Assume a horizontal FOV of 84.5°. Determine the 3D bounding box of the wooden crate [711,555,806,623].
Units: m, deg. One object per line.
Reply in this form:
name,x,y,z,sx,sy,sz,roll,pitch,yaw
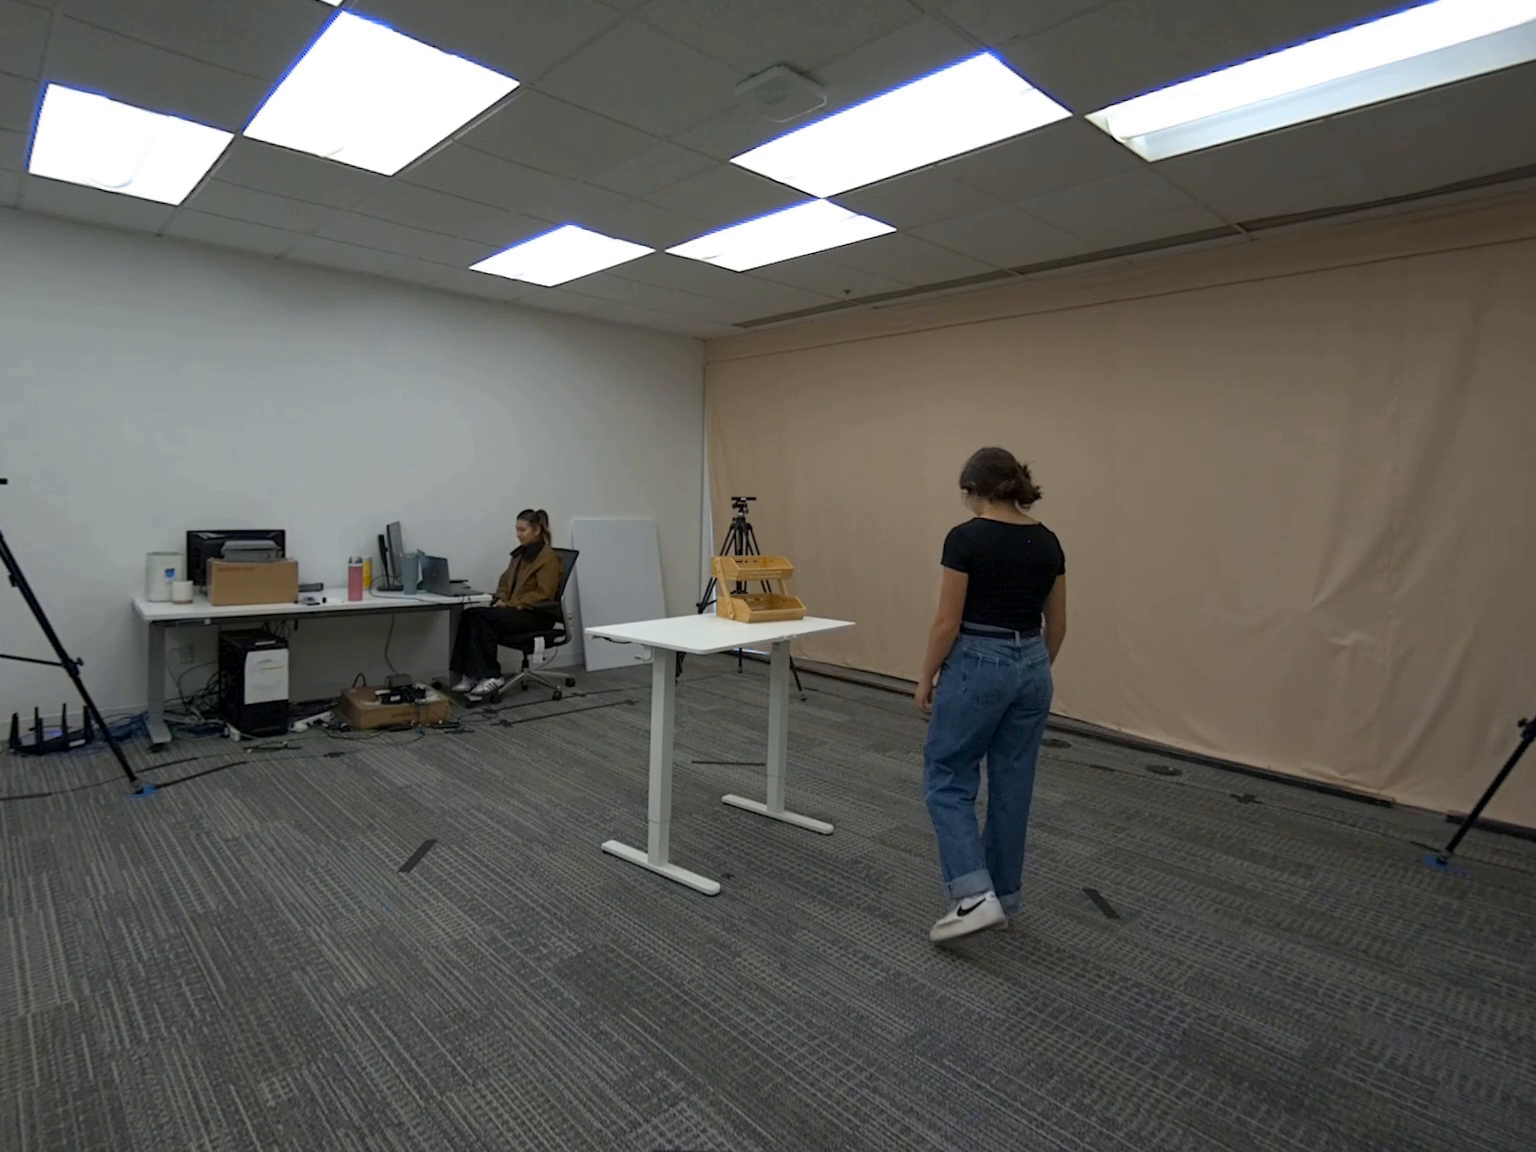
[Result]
wooden crate,-0.052,0.049,3.655,0.317,0.273,0.309,-1,4,-37
